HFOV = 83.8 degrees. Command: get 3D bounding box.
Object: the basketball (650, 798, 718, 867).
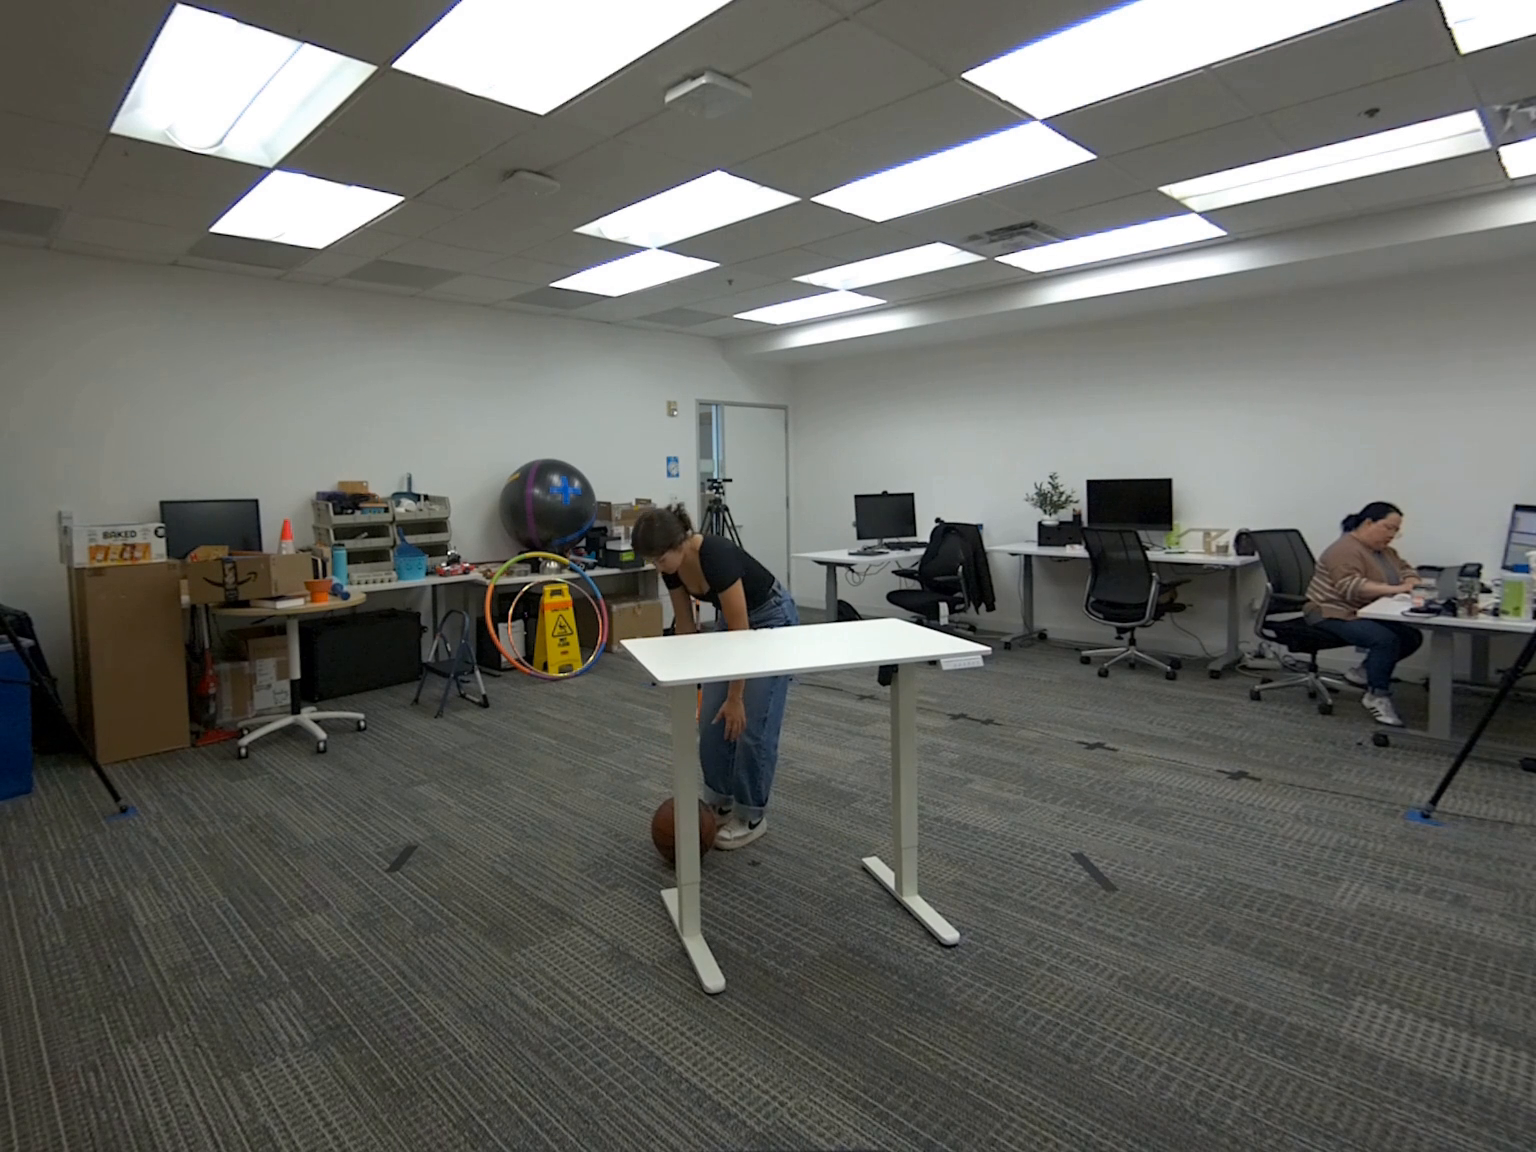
[{"bbox_3d":[-0.305,0.921,3.136,0.236,0.235,0.237,-1,5,-2],"label":"basketball"}]
